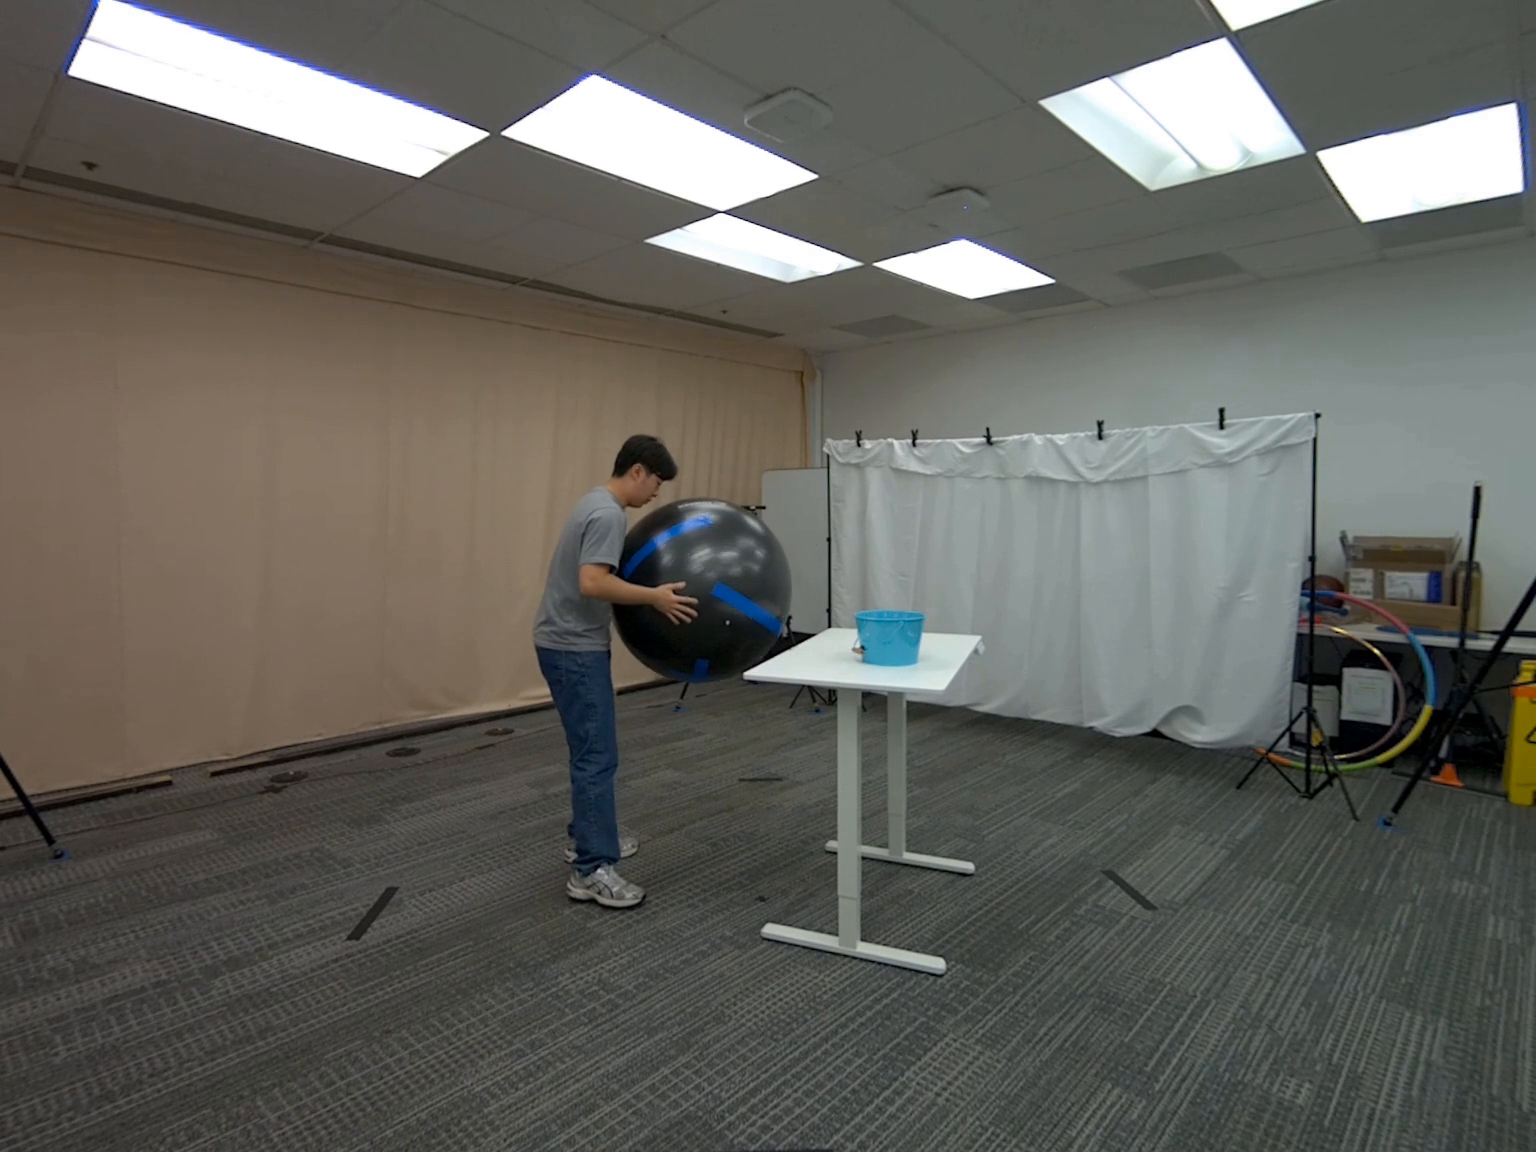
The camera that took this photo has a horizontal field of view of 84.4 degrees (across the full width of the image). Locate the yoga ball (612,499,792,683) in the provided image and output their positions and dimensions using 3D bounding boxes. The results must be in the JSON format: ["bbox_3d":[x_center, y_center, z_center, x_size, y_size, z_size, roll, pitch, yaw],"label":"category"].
[{"bbox_3d":[-0.284,0.064,3.475,0.757,0.756,0.760,0,4,-2],"label":"yoga ball"}]
